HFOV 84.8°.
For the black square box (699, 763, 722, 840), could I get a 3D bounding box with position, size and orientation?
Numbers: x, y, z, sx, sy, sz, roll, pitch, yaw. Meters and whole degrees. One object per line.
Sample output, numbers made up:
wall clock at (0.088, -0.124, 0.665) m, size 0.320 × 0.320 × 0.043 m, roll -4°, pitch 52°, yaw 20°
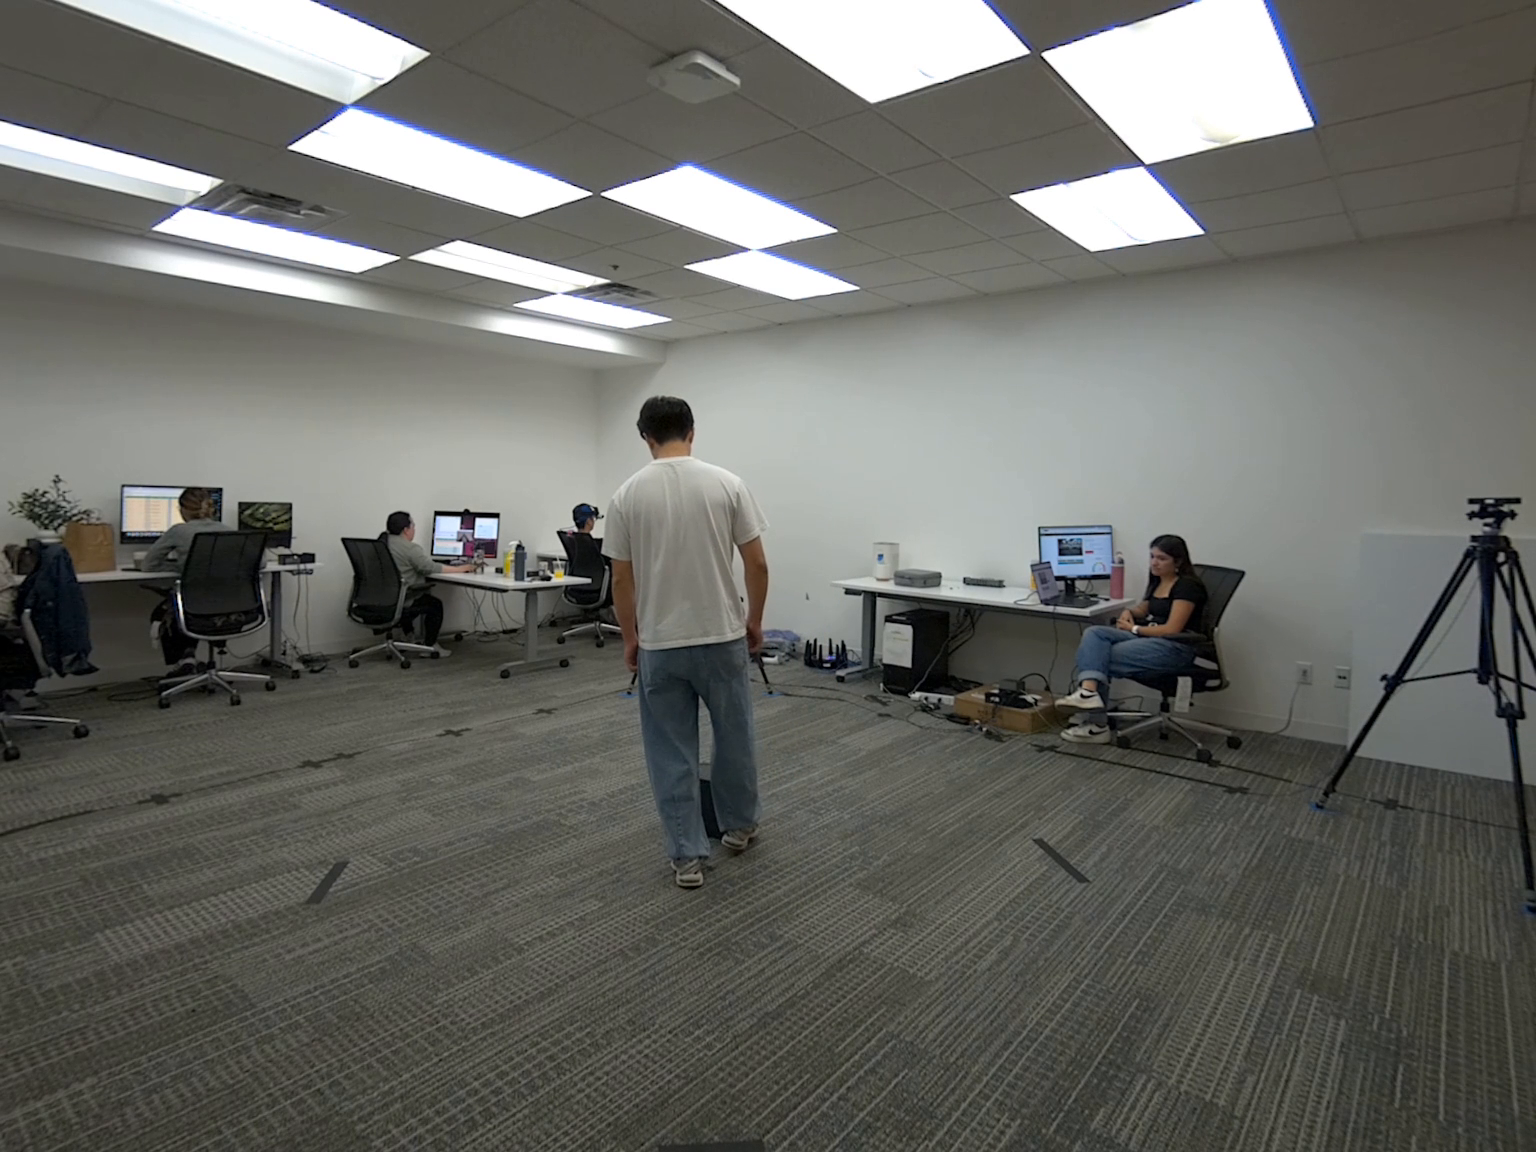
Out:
black square box at (-0.256, 0.905, 3.461) m, size 0.222 × 0.227 × 0.152 m, roll 3°, pitch 3°, yaw 24°
